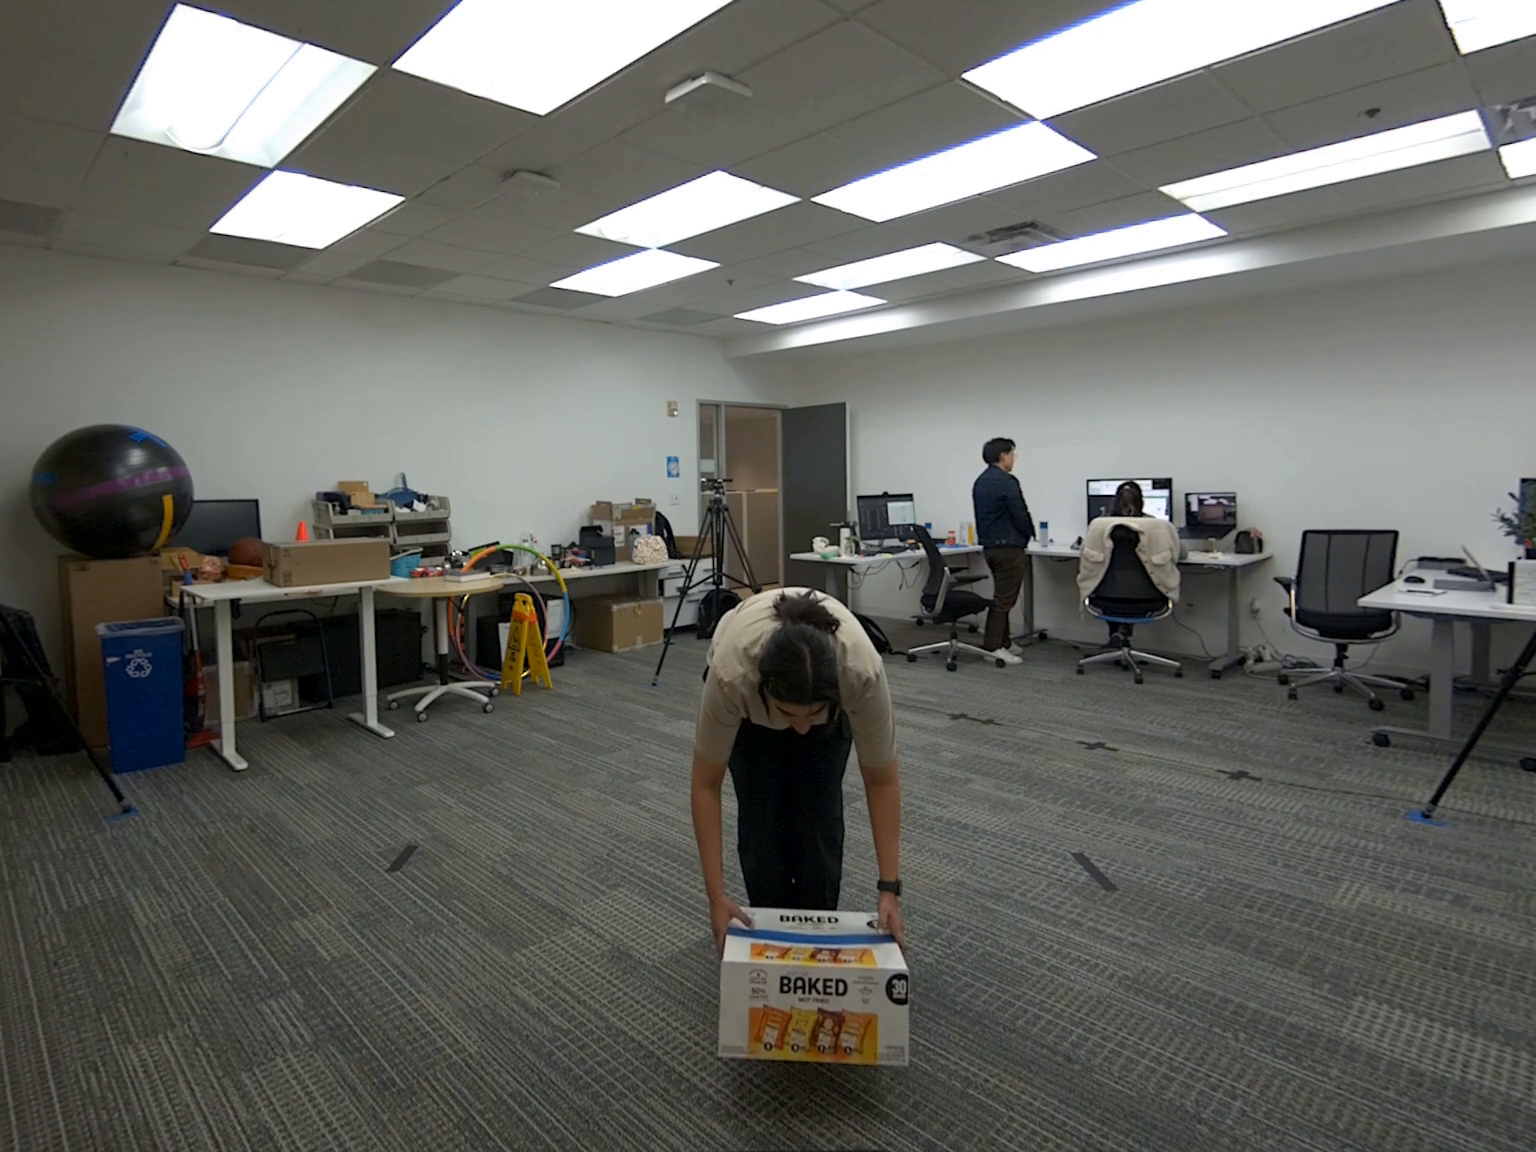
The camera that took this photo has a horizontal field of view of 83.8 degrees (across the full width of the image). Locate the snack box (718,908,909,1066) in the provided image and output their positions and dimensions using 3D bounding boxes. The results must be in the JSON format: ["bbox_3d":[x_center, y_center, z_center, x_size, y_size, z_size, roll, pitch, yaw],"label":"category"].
[{"bbox_3d":[0.103,0.948,1.990,0.406,0.206,0.338,1,-3,2],"label":"snack box"}]
